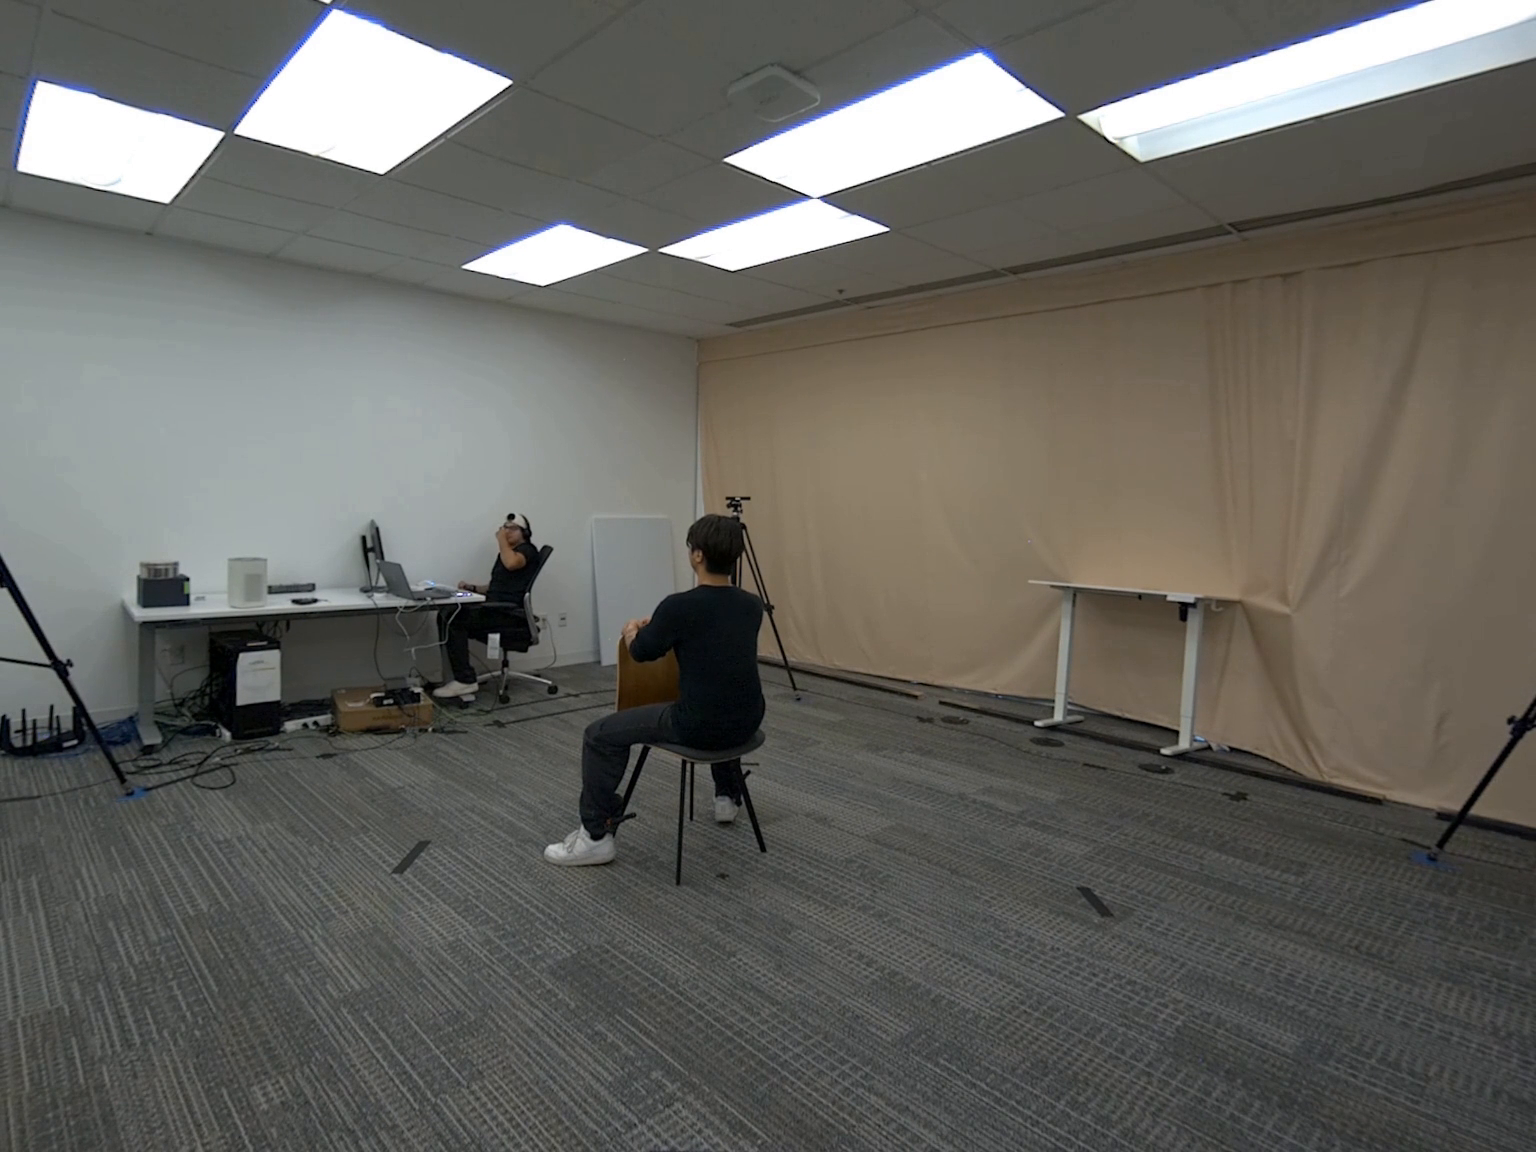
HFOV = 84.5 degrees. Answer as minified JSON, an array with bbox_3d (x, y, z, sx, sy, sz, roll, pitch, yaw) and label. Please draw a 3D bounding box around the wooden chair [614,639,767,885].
[{"bbox_3d":[-0.306,0.653,3.293,0.467,0.877,0.535,-1,1,-43],"label":"wooden chair"}]
